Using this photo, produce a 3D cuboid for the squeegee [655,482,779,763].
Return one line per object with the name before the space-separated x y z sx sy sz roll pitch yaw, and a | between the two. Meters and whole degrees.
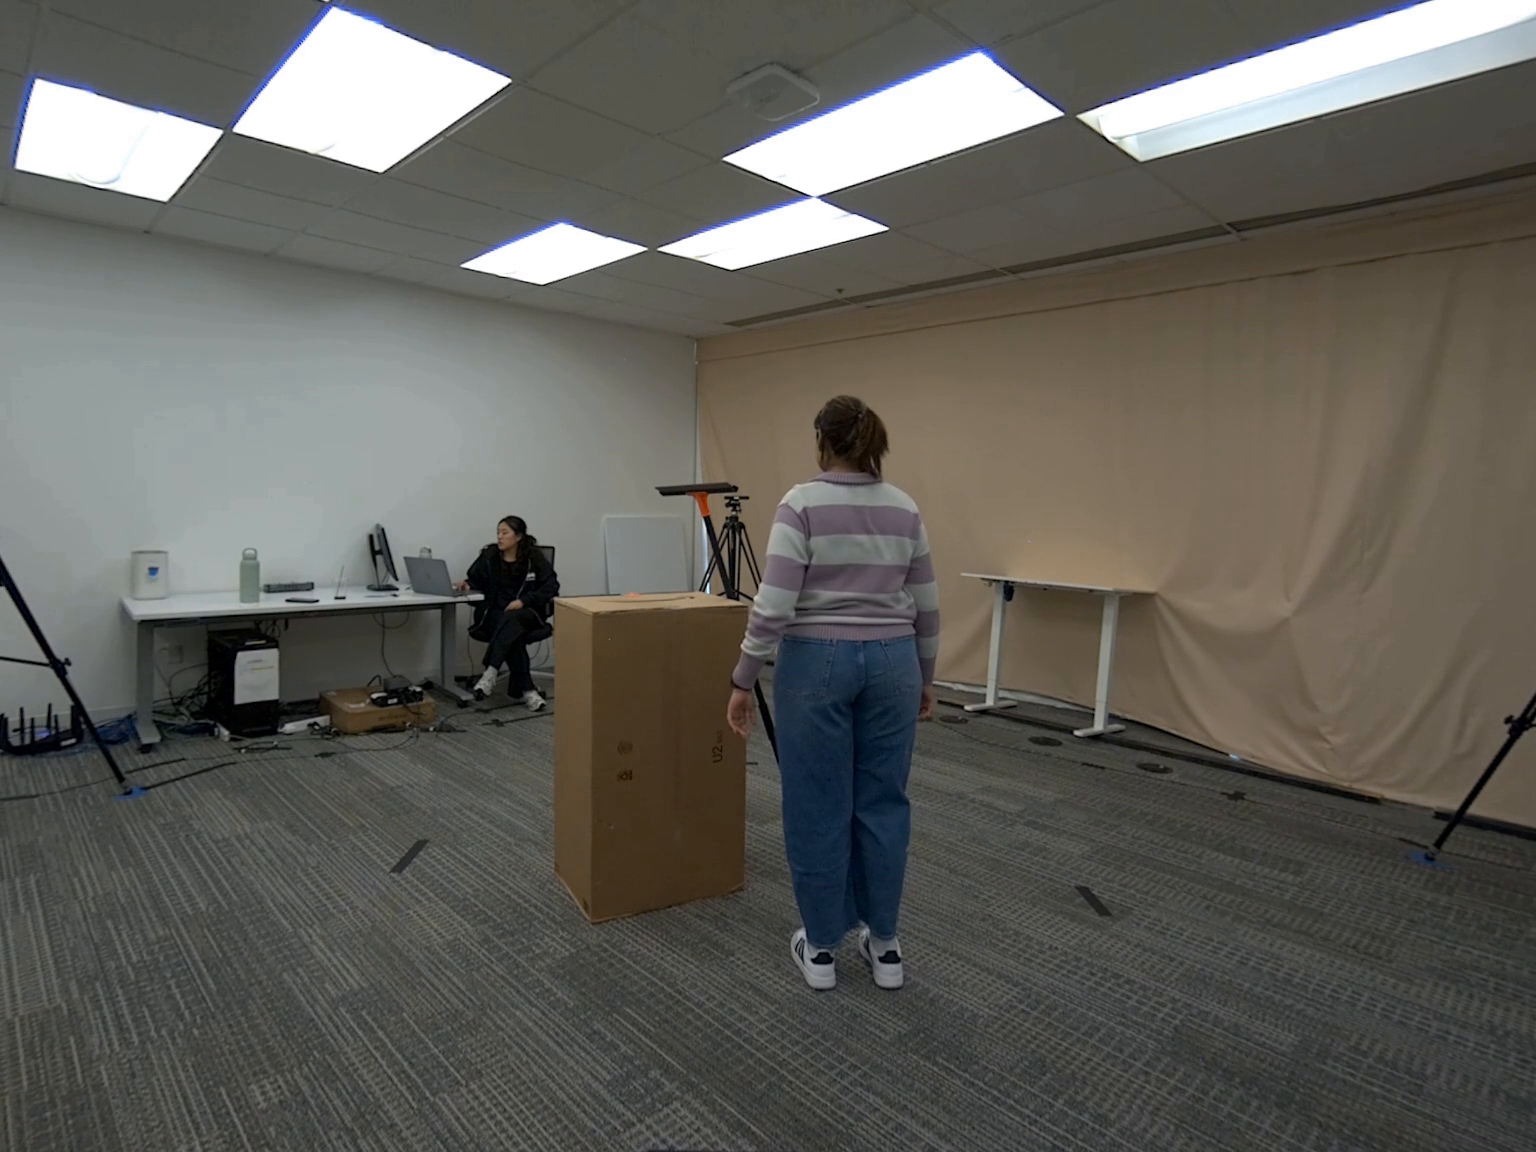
squeegee | -0.034 0.372 3.154 0.052 1.515 0.448 -29 19 -35
